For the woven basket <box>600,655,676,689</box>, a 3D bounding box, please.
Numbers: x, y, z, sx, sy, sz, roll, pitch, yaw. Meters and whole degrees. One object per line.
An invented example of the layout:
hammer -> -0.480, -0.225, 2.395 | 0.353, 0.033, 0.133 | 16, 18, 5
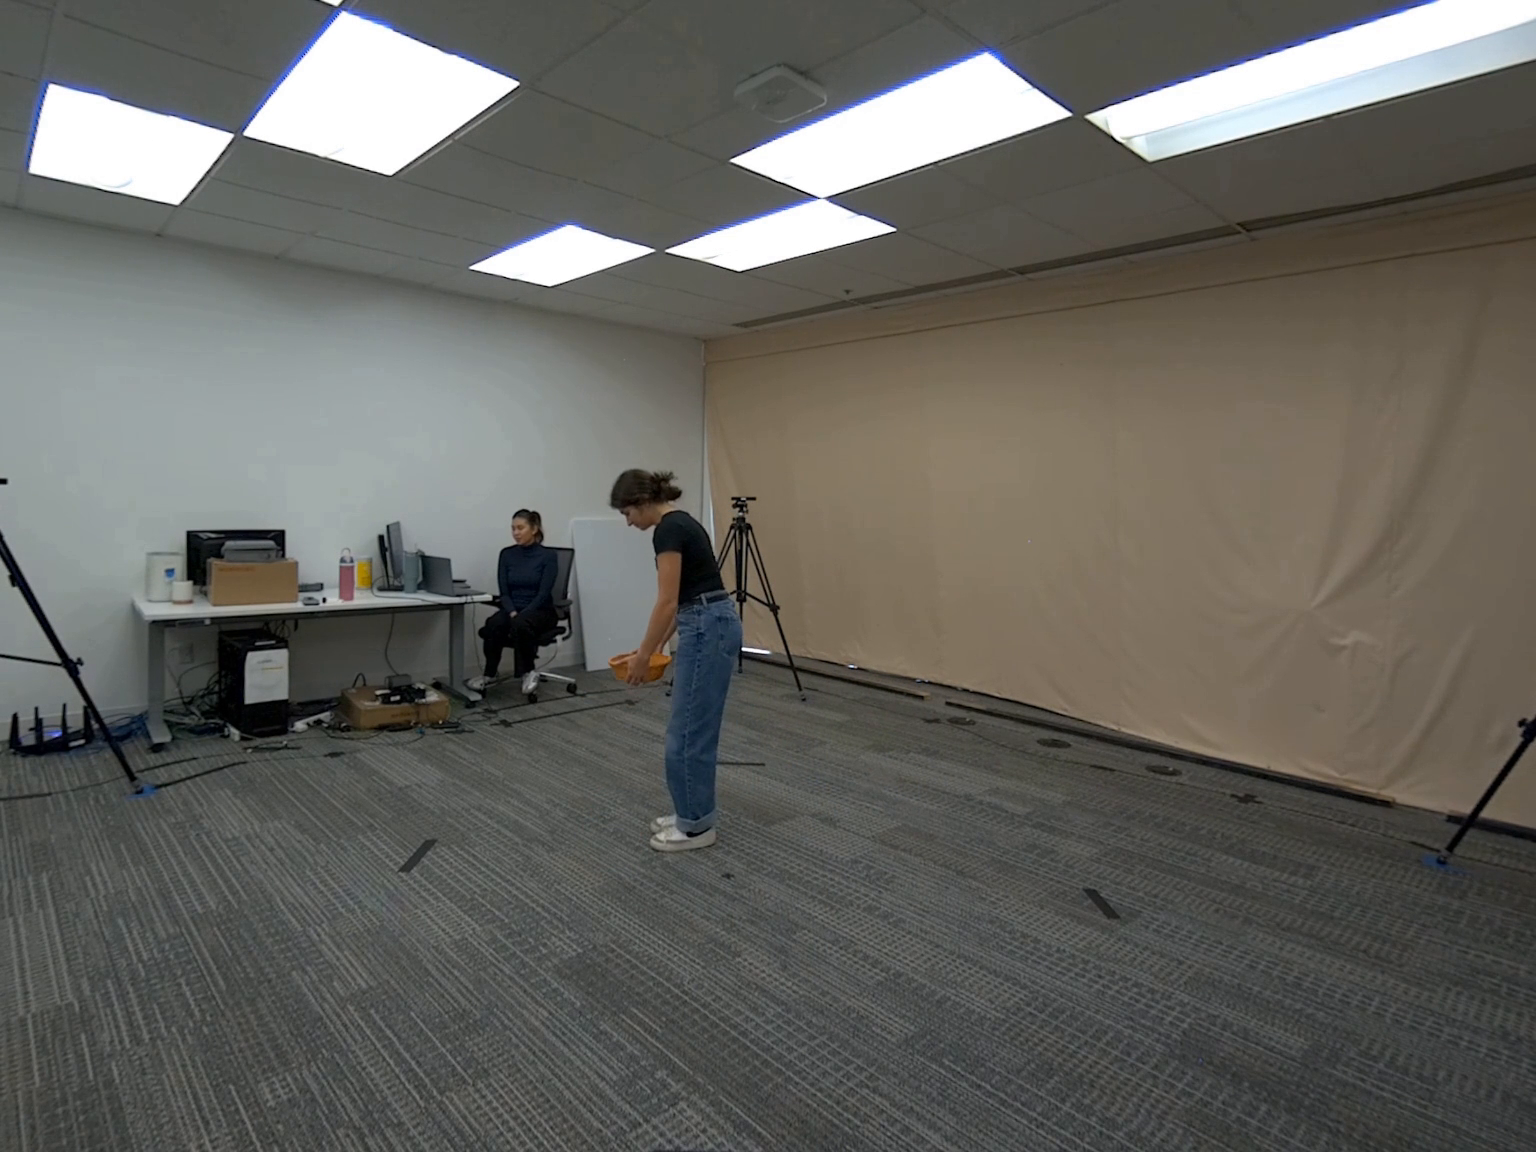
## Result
woven basket -> -0.513, 0.384, 3.436 | 0.253, 0.073, 0.349 | 2, 1, 4
